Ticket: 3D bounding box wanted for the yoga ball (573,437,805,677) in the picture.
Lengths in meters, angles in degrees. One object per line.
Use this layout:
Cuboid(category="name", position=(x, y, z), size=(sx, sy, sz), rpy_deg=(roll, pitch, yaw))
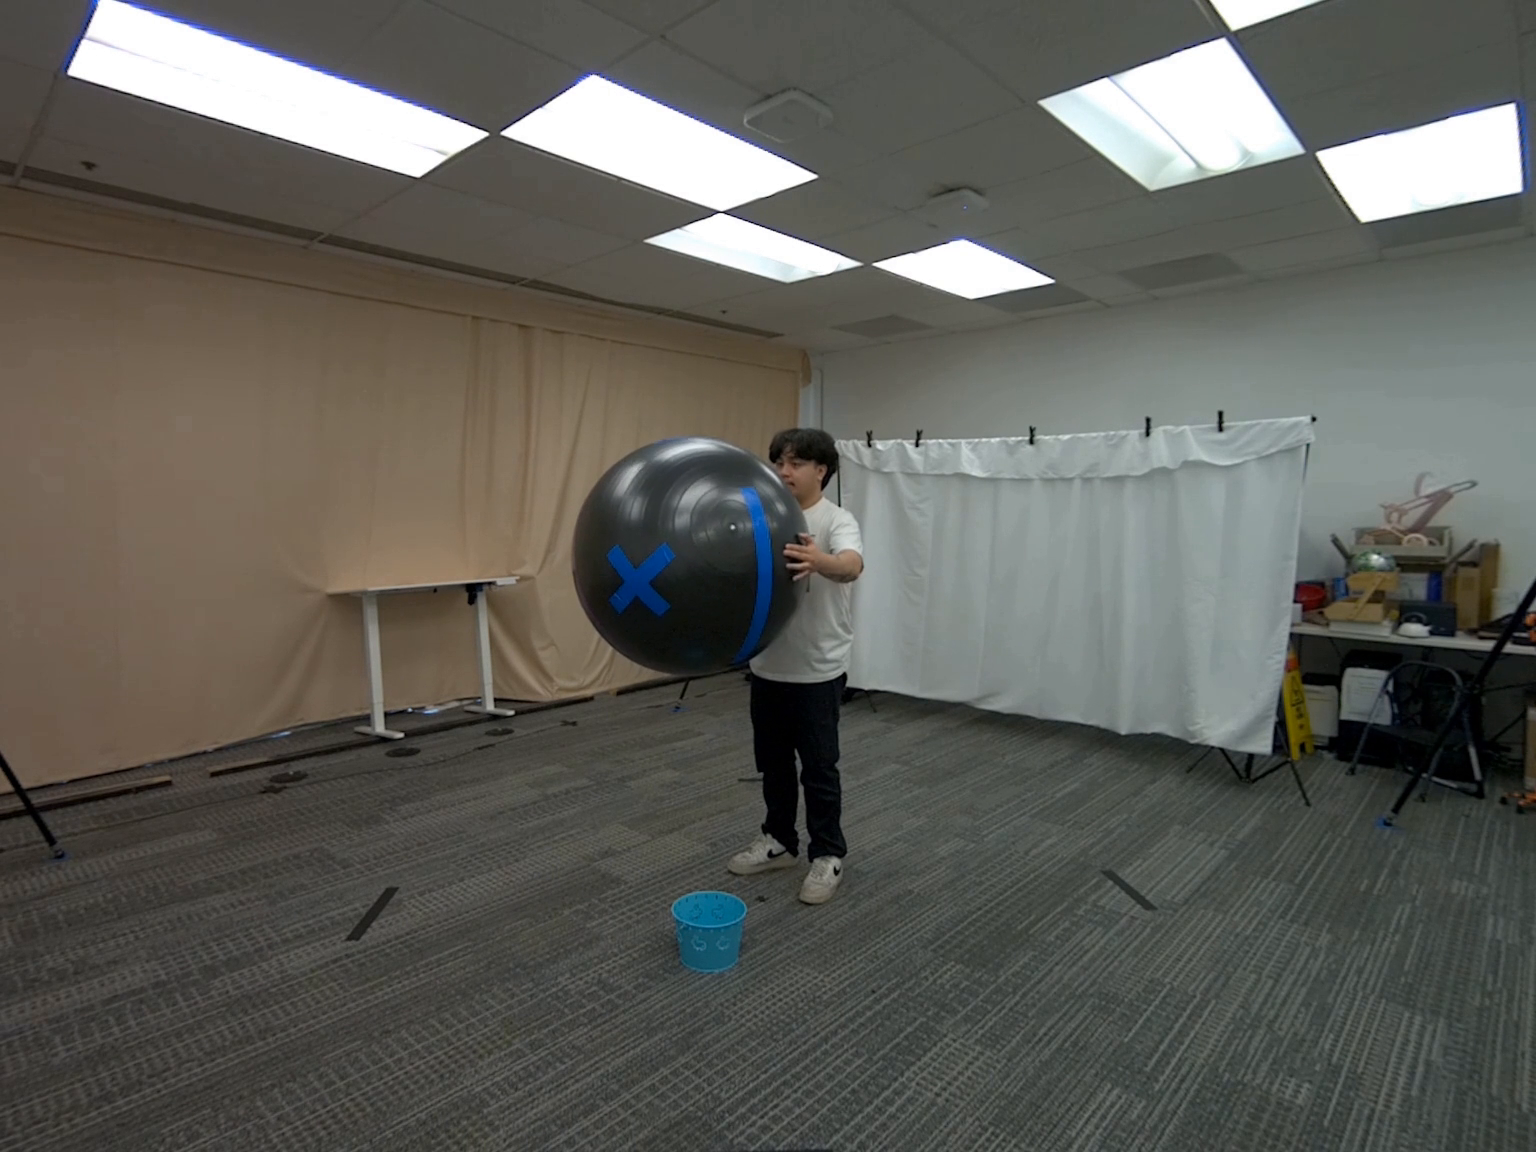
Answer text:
Cuboid(category="yoga ball", position=(-0.249, -0.053, 2.685), size=(0.757, 0.756, 0.760), rpy_deg=(0, 4, -2))
